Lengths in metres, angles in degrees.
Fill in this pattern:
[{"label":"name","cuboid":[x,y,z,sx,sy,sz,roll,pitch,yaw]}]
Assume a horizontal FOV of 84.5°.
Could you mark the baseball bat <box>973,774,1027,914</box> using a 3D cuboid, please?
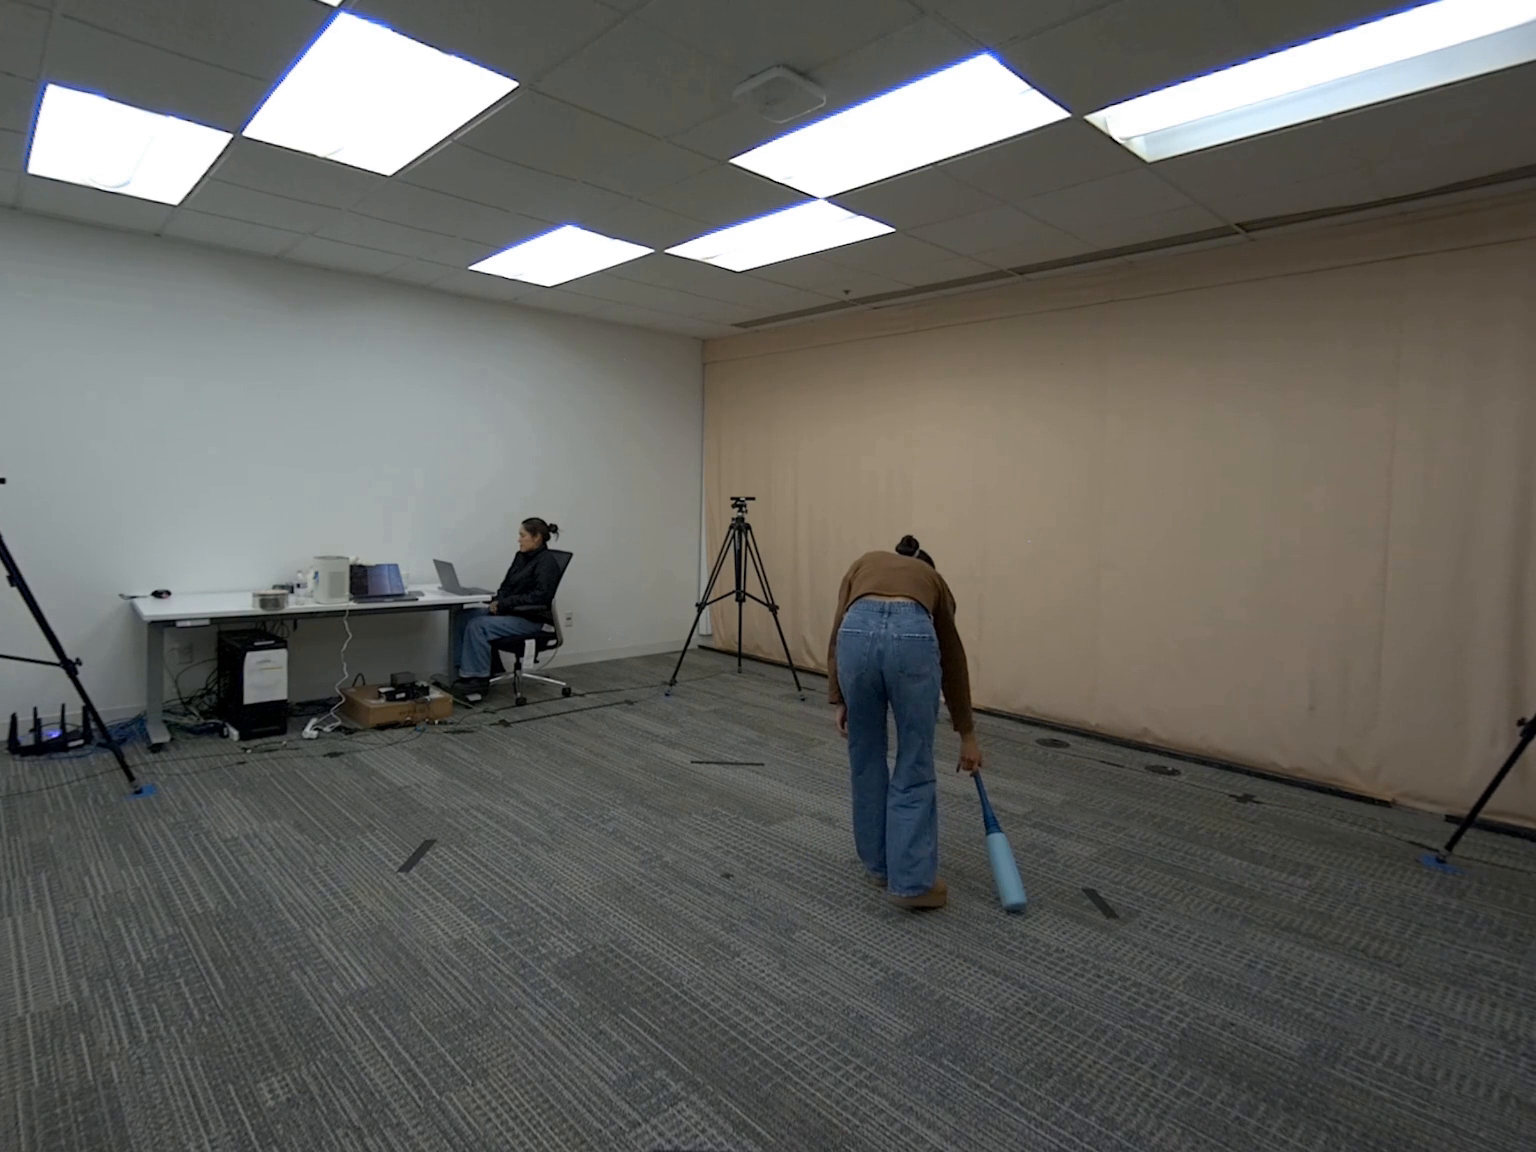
[{"label":"baseball bat","cuboid":[0.803,0.923,3.037,0.089,0.556,0.087,-4,-40,-5]}]
